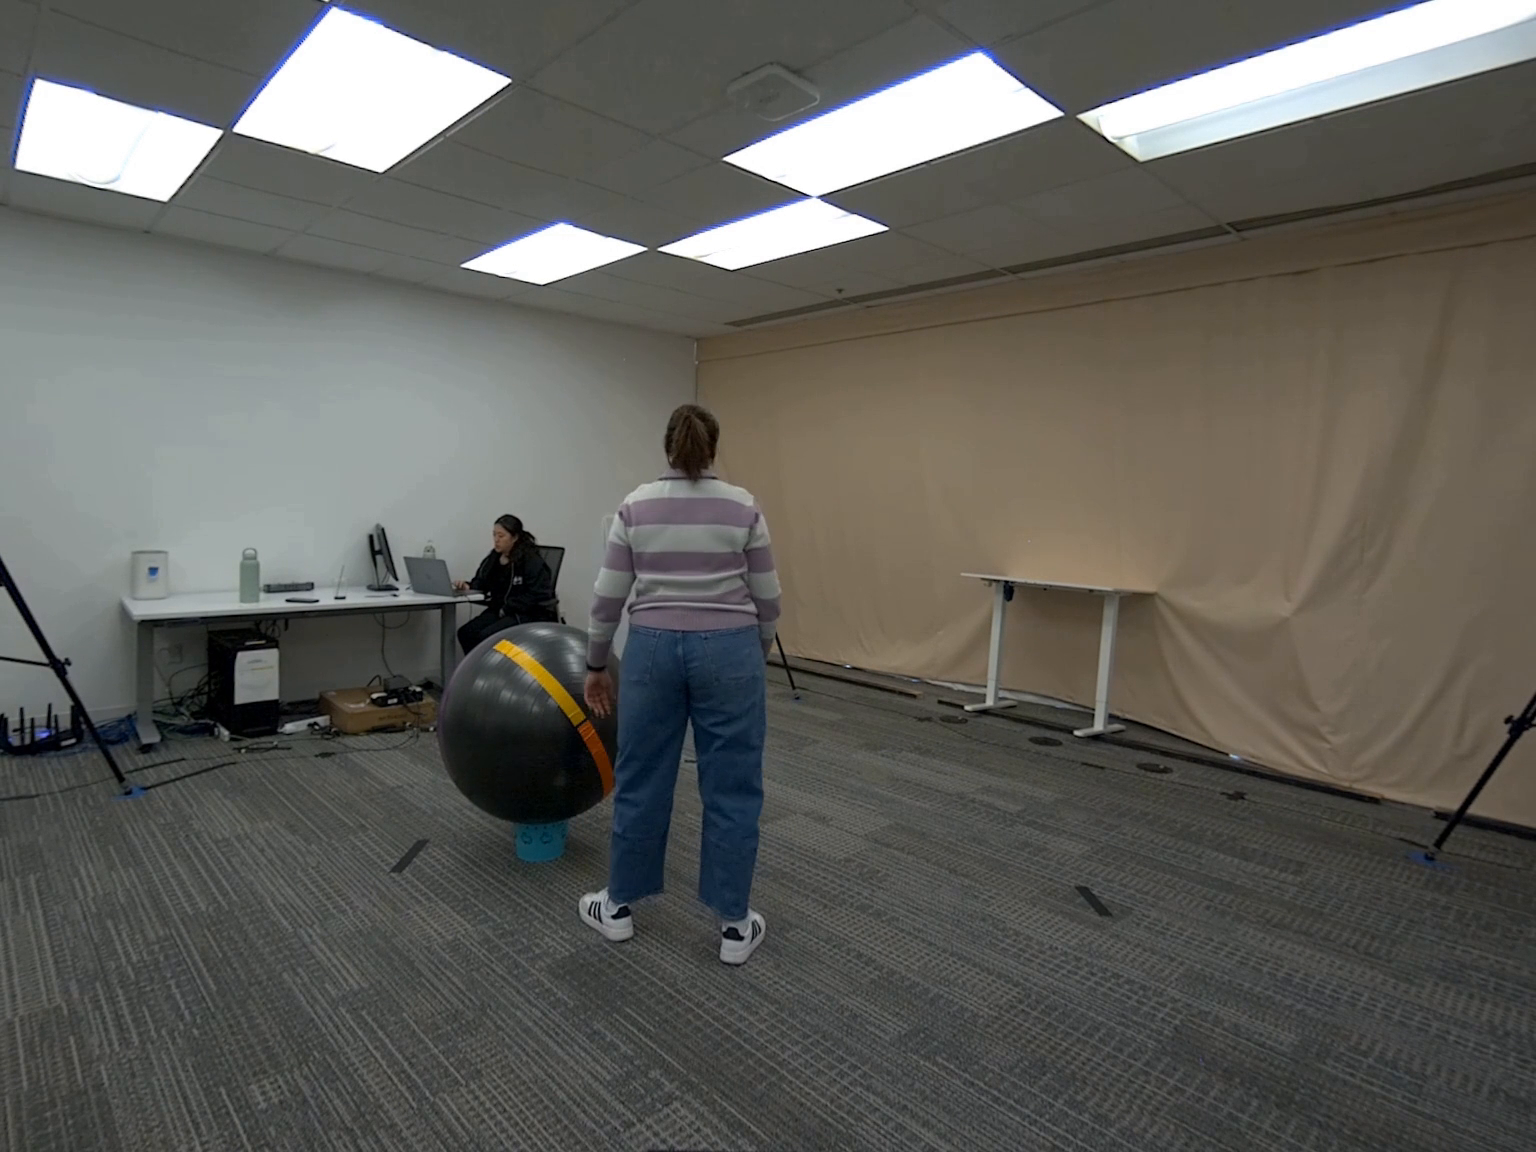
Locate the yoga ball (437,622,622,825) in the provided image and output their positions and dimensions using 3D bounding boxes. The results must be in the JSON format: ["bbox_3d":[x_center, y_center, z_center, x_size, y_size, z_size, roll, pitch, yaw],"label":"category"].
[{"bbox_3d":[-0.886,0.566,3.245,0.757,0.756,0.761,1,4,-1],"label":"yoga ball"}]
